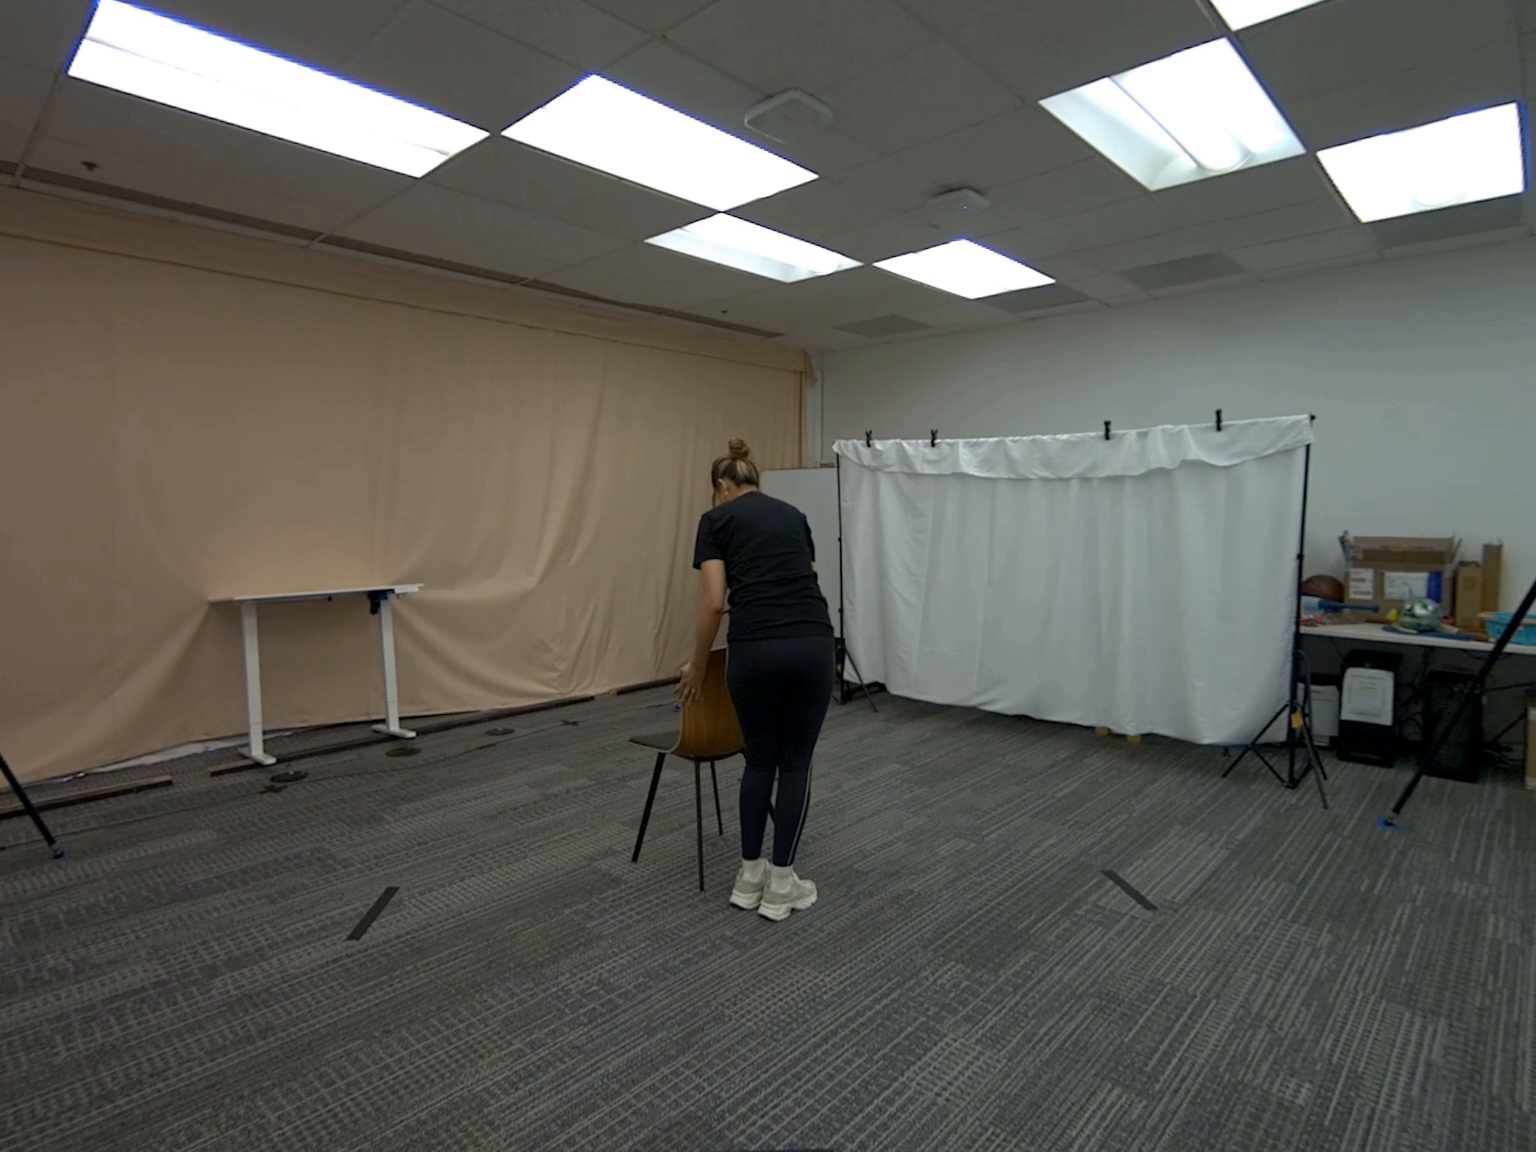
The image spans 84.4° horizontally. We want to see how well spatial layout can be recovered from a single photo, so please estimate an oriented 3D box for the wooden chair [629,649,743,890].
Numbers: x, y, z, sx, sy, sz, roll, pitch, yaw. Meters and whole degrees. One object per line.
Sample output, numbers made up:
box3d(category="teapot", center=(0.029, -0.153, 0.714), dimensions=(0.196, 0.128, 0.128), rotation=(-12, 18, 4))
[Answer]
box3d(category="wooden chair", center=(-0.258, 0.675, 3.276), dimensions=(0.463, 0.876, 0.540), rotation=(-3, 3, -40))
